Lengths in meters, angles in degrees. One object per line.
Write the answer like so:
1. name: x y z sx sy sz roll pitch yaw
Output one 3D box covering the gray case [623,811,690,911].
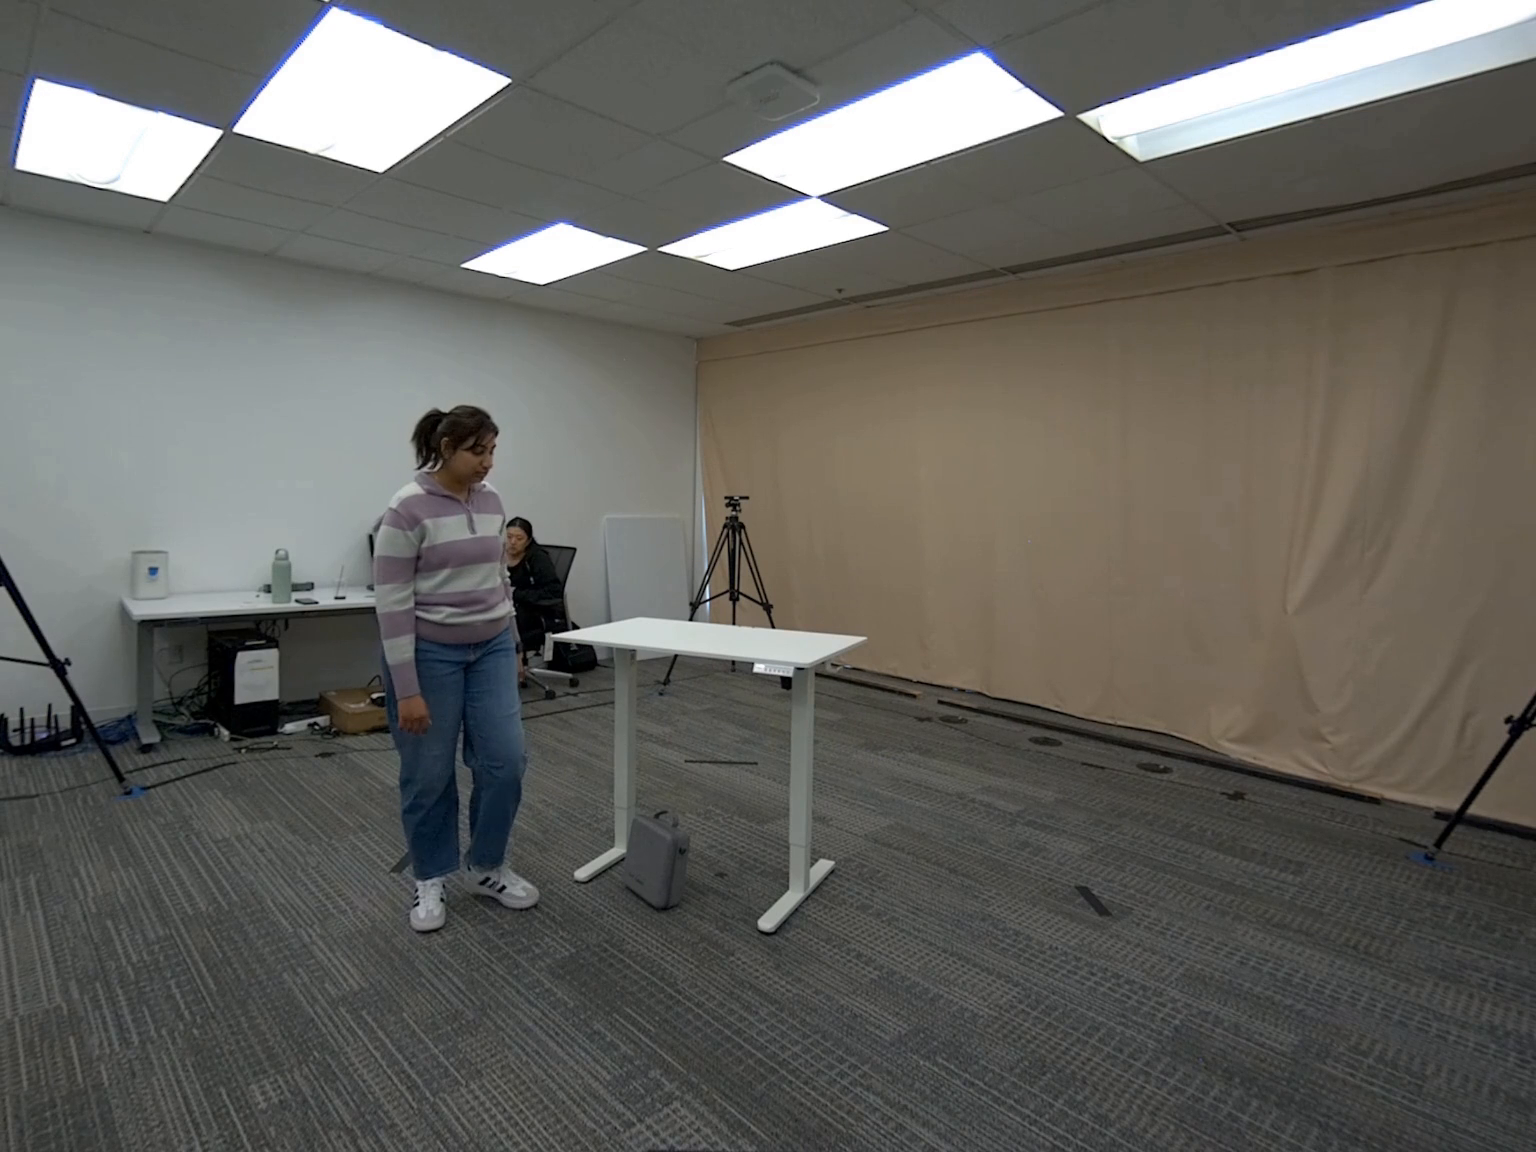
1. gray case: -0.400 0.984 2.930 0.101 0.261 0.263 9 -1 -38
